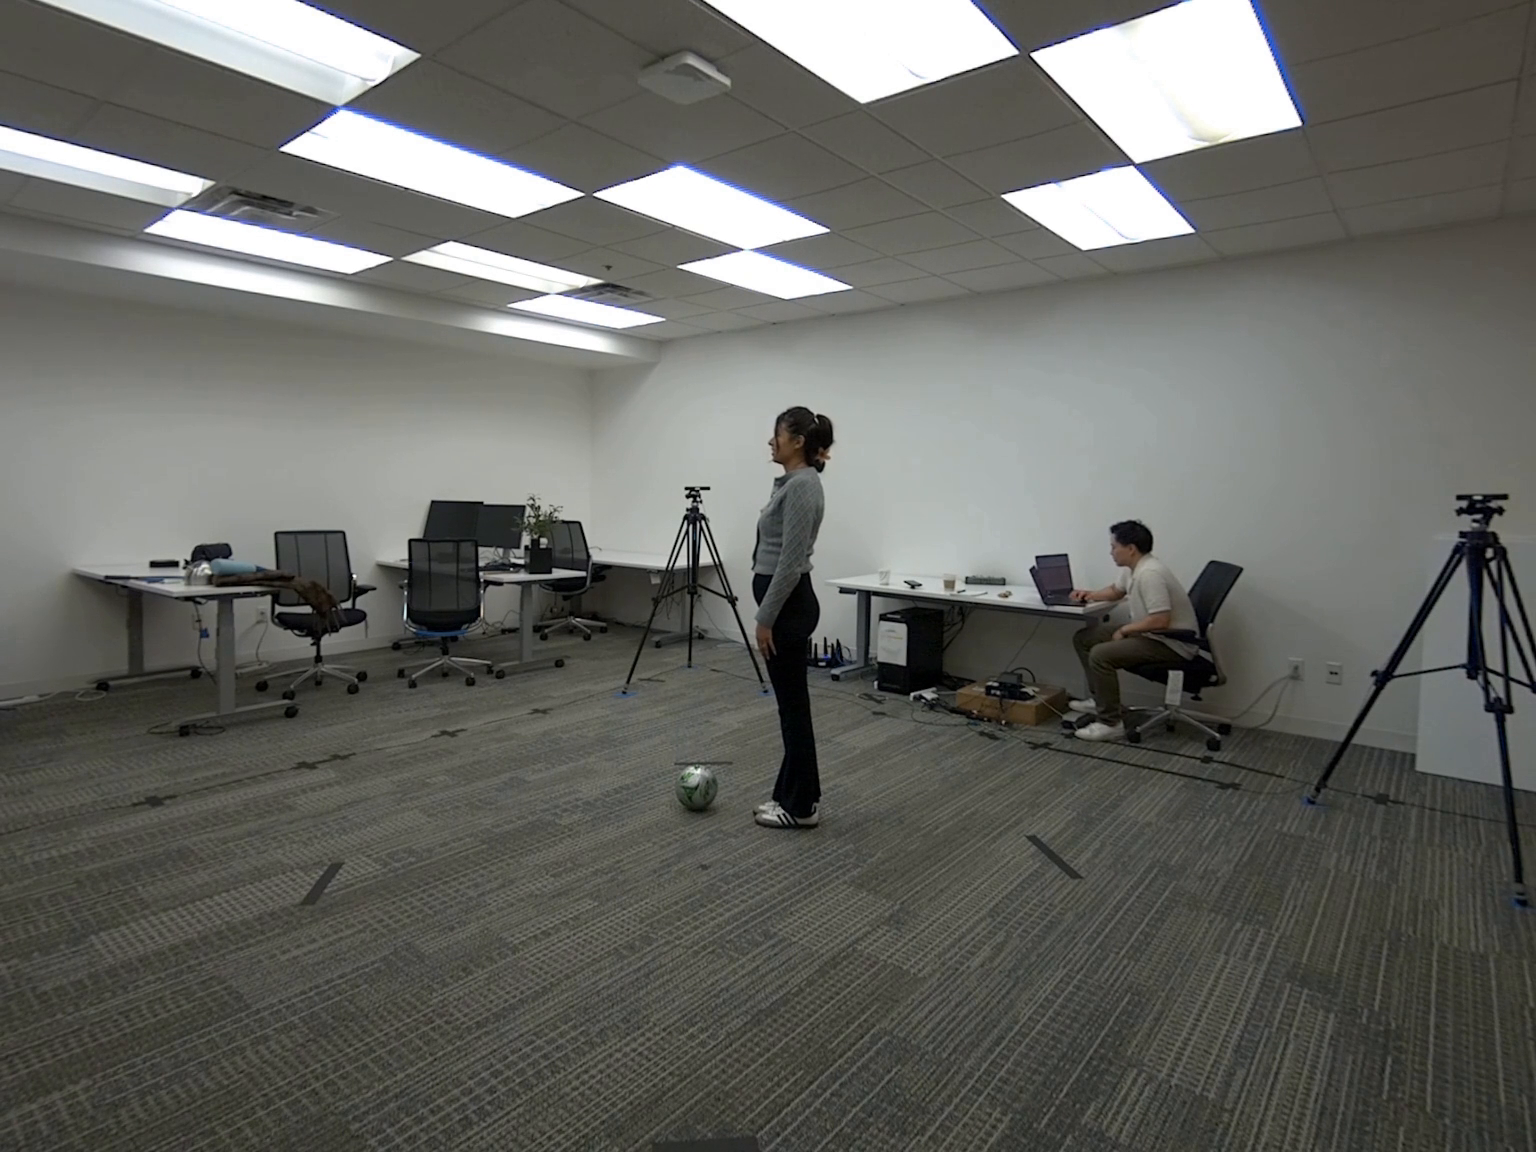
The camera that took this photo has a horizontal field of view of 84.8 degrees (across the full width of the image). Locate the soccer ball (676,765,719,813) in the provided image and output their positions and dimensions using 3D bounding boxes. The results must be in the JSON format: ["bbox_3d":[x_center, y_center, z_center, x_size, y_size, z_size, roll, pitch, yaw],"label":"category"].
[{"bbox_3d":[-0.320,0.914,3.693,0.187,0.187,0.188,1,4,-2],"label":"soccer ball"}]
